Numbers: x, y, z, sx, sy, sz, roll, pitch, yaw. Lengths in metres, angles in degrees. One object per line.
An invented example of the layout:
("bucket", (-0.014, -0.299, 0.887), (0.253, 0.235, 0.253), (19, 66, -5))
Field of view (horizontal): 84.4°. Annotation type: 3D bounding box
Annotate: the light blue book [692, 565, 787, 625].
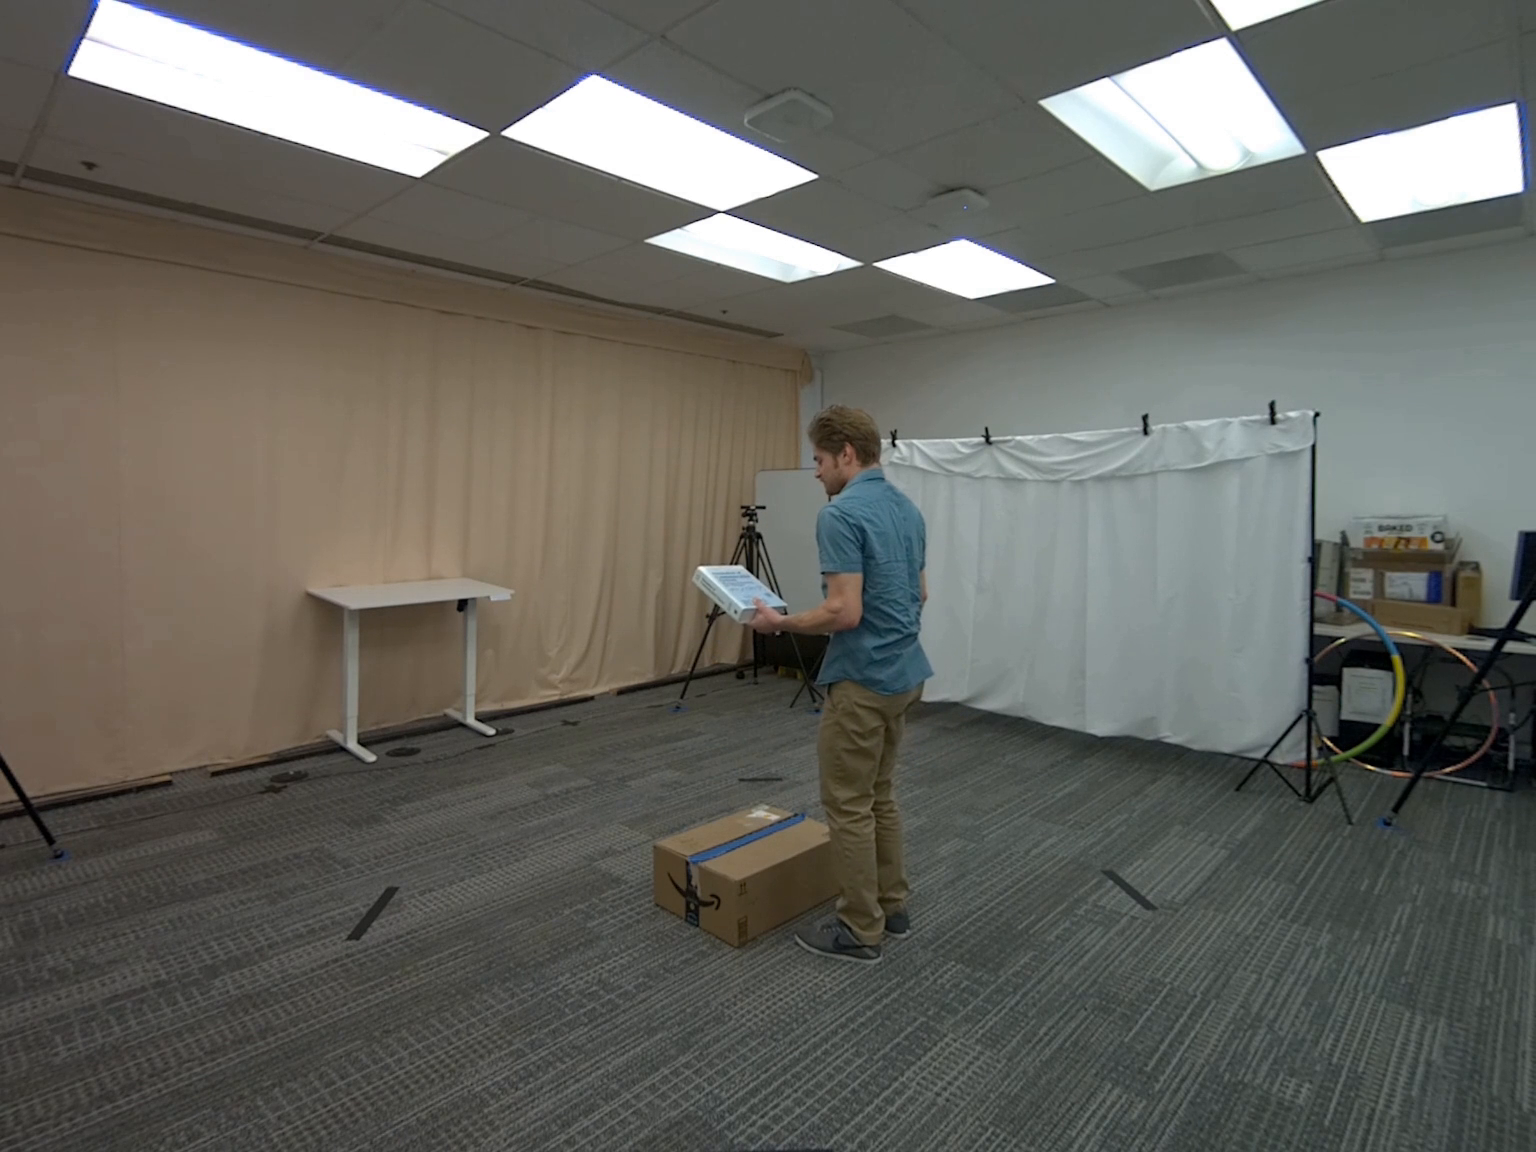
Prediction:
("light blue book", (-0.087, 0.060, 2.732), (0.185, 0.059, 0.271), (0, 28, -42))
